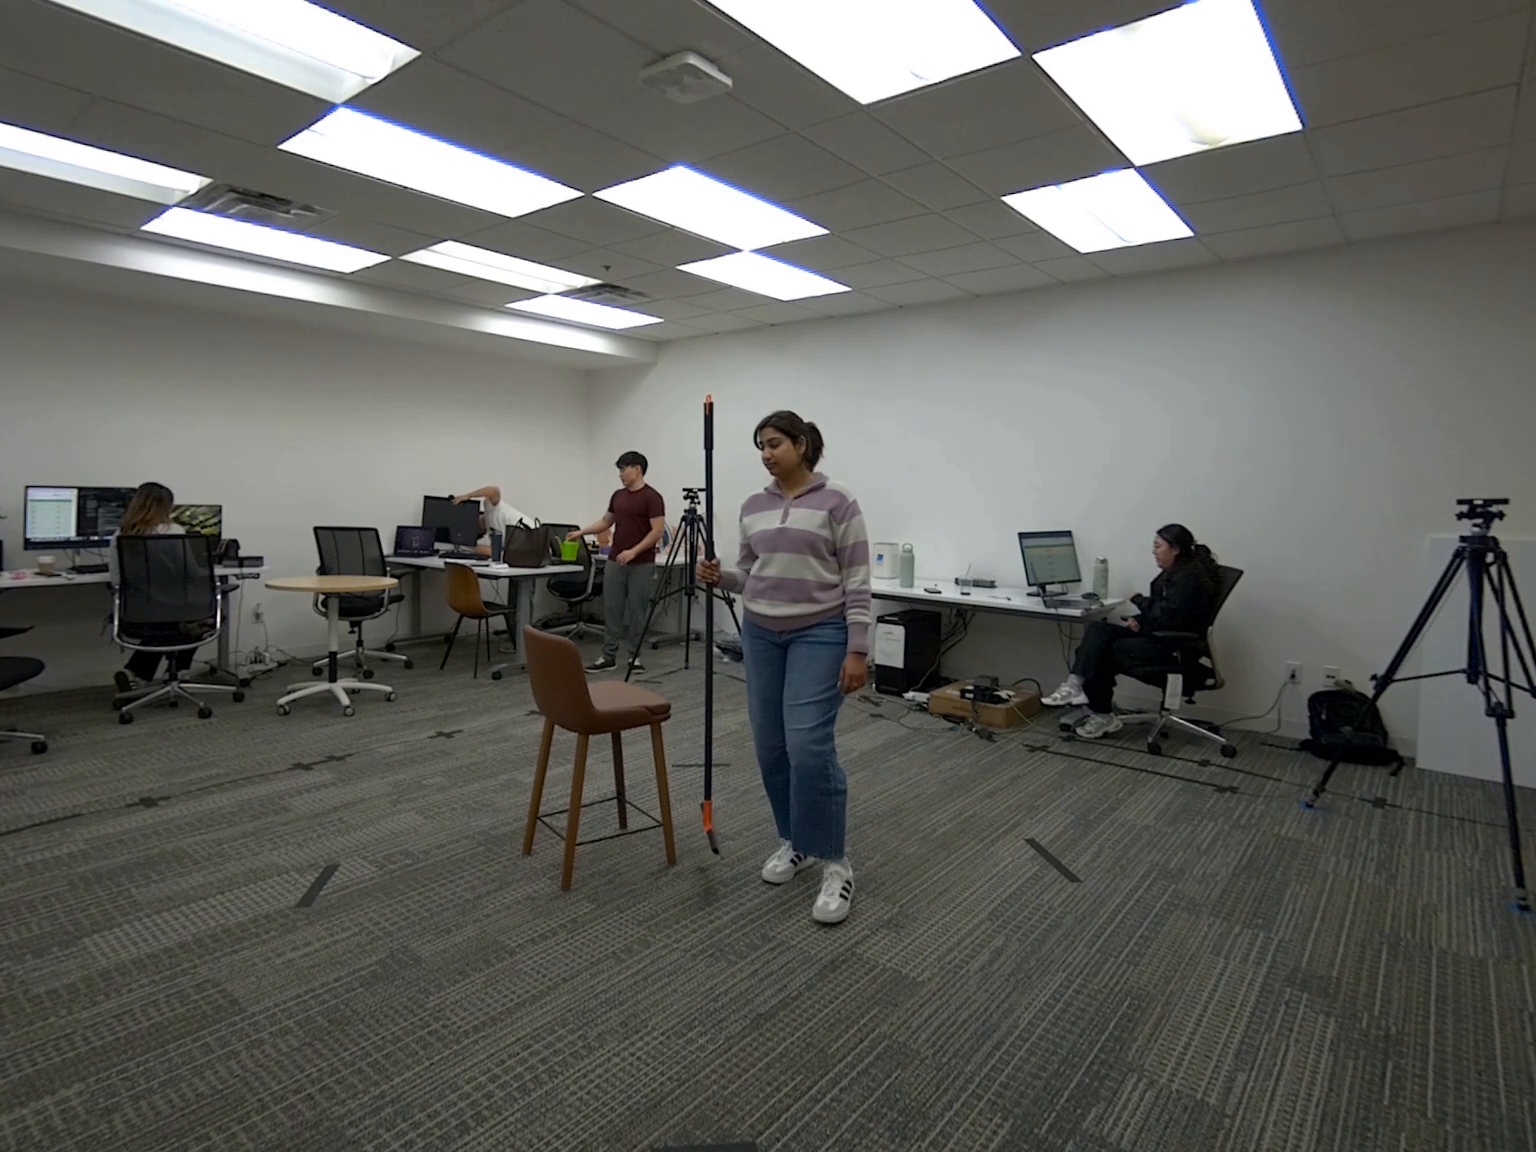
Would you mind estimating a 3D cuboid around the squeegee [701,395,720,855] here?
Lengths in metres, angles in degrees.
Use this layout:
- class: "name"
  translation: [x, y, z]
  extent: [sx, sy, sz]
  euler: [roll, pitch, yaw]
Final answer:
- class: "squeegee"
  translation: [-0.211, 0.143, 2.972]
  extent: [0.051, 1.532, 0.450]
  euler: [0, 4, -28]
